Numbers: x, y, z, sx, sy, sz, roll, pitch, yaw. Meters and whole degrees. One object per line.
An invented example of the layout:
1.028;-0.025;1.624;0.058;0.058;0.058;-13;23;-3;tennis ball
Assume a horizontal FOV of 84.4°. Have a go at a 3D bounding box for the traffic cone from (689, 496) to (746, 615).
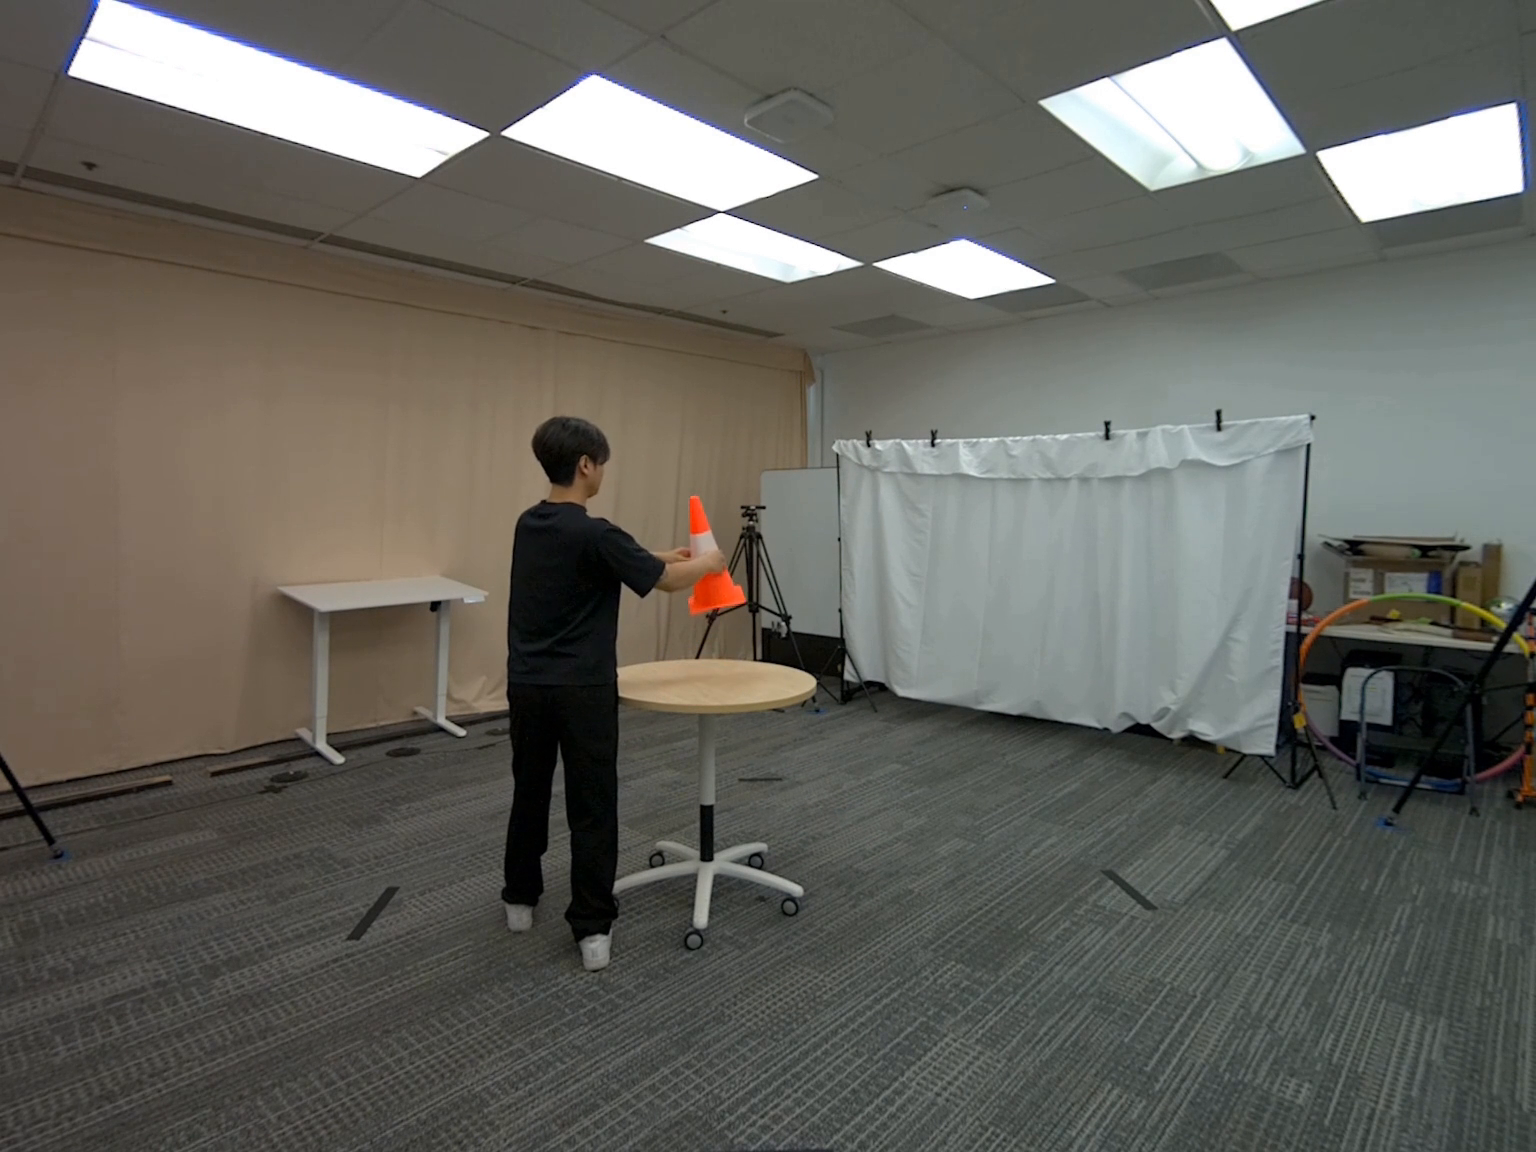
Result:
-0.223;-0.094;2.961;0.208;0.380;0.202;-4;14;25;traffic cone
